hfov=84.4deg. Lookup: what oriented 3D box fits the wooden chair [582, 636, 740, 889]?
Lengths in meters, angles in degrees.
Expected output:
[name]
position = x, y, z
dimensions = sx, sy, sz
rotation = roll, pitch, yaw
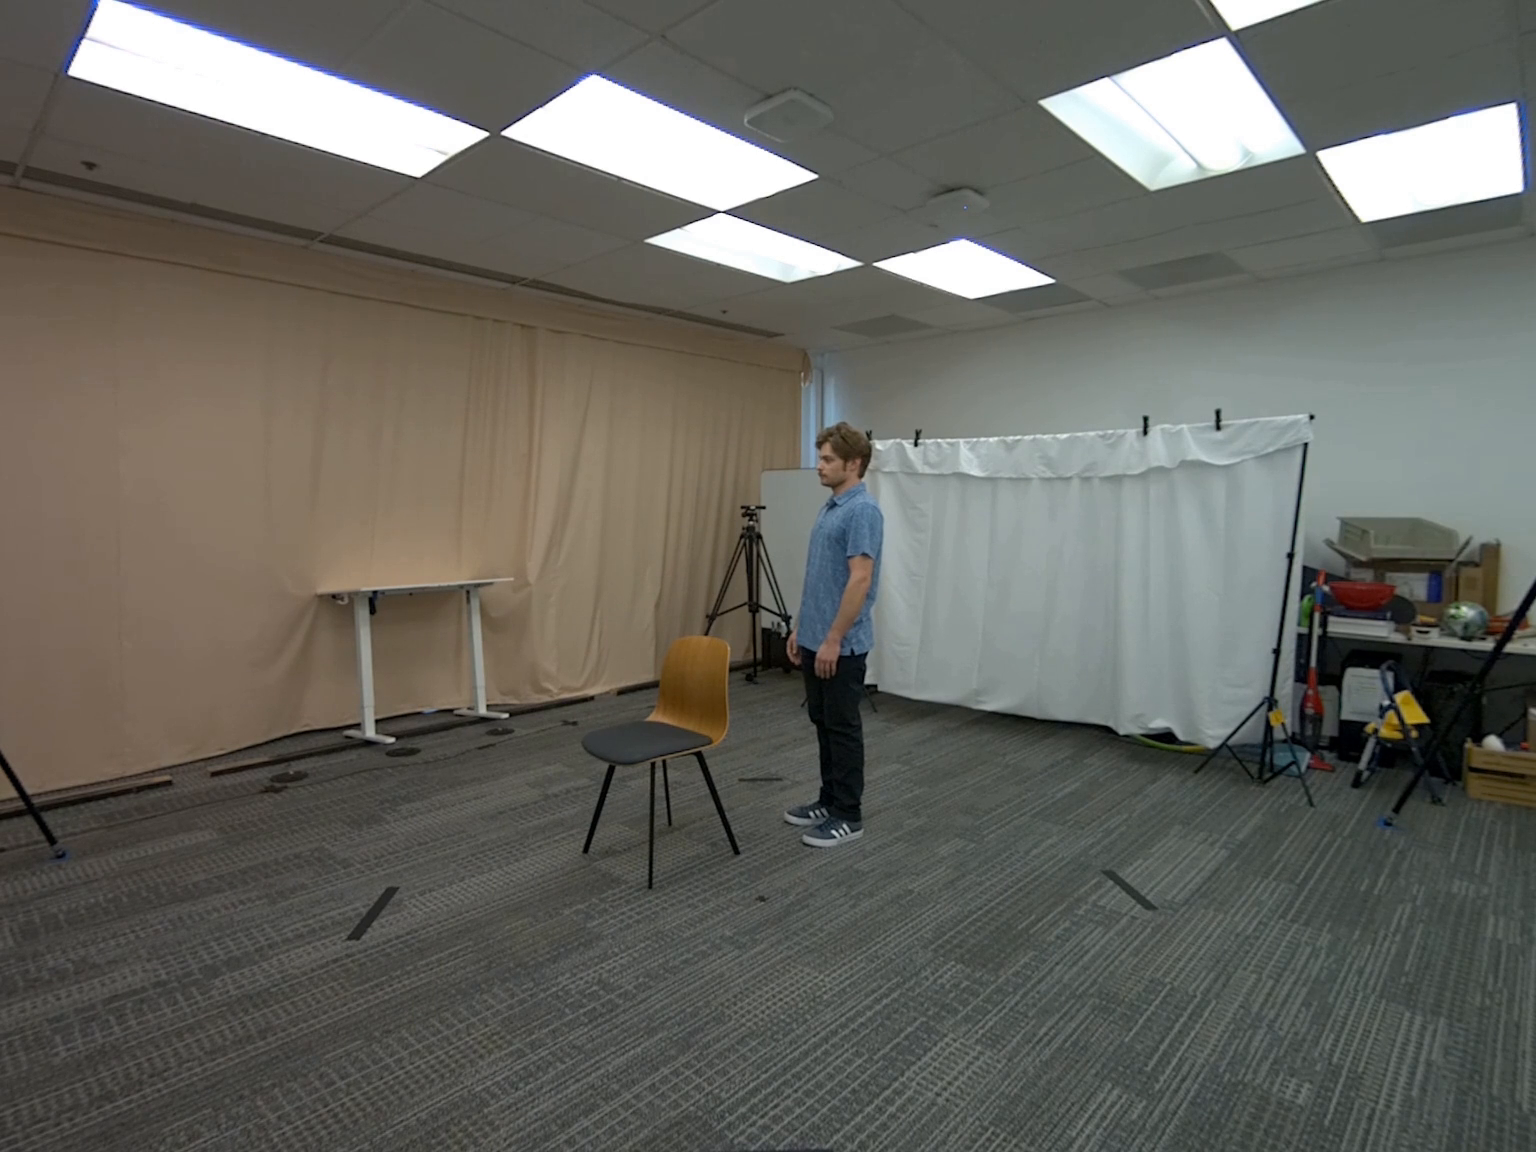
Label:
[wooden chair]
position = -0.435, 0.689, 3.337
dimensions = 0.506, 0.877, 0.494
rotation = 2, 0, -44
